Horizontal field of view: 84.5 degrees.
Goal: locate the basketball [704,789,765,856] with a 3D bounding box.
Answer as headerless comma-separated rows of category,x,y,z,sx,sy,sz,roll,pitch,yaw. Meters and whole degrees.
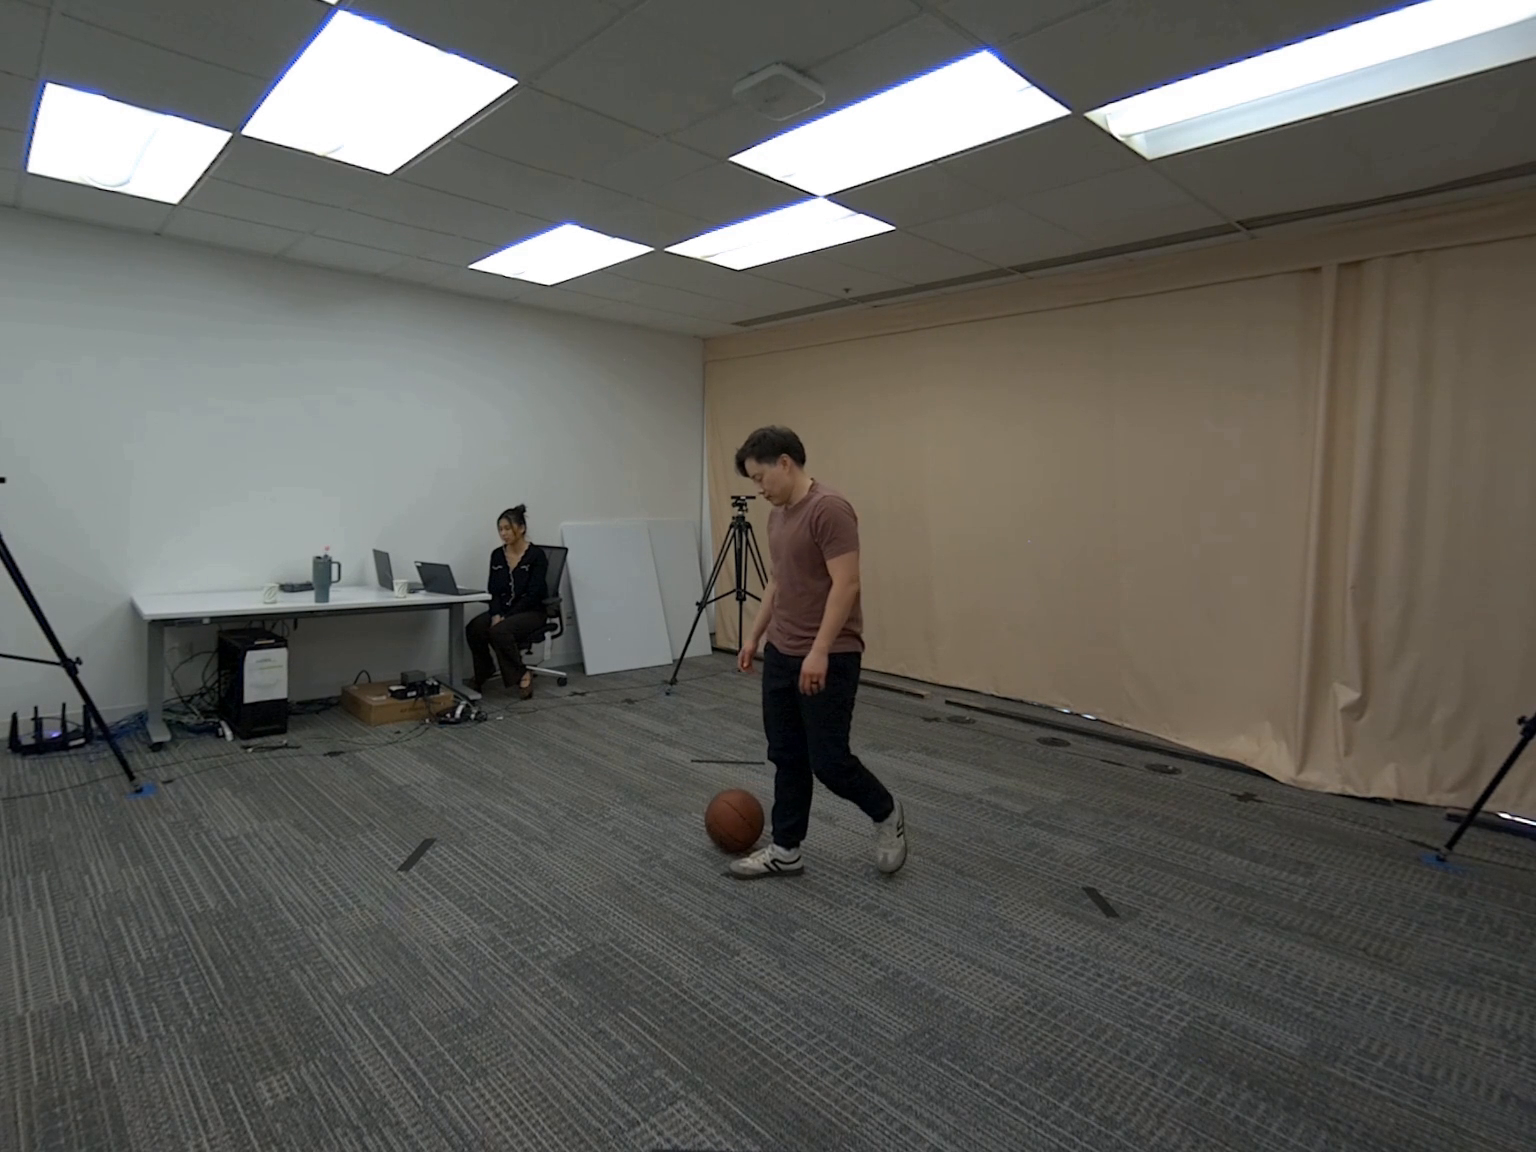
basketball,-0.140,0.965,3.328,0.236,0.235,0.237,1,4,-1
